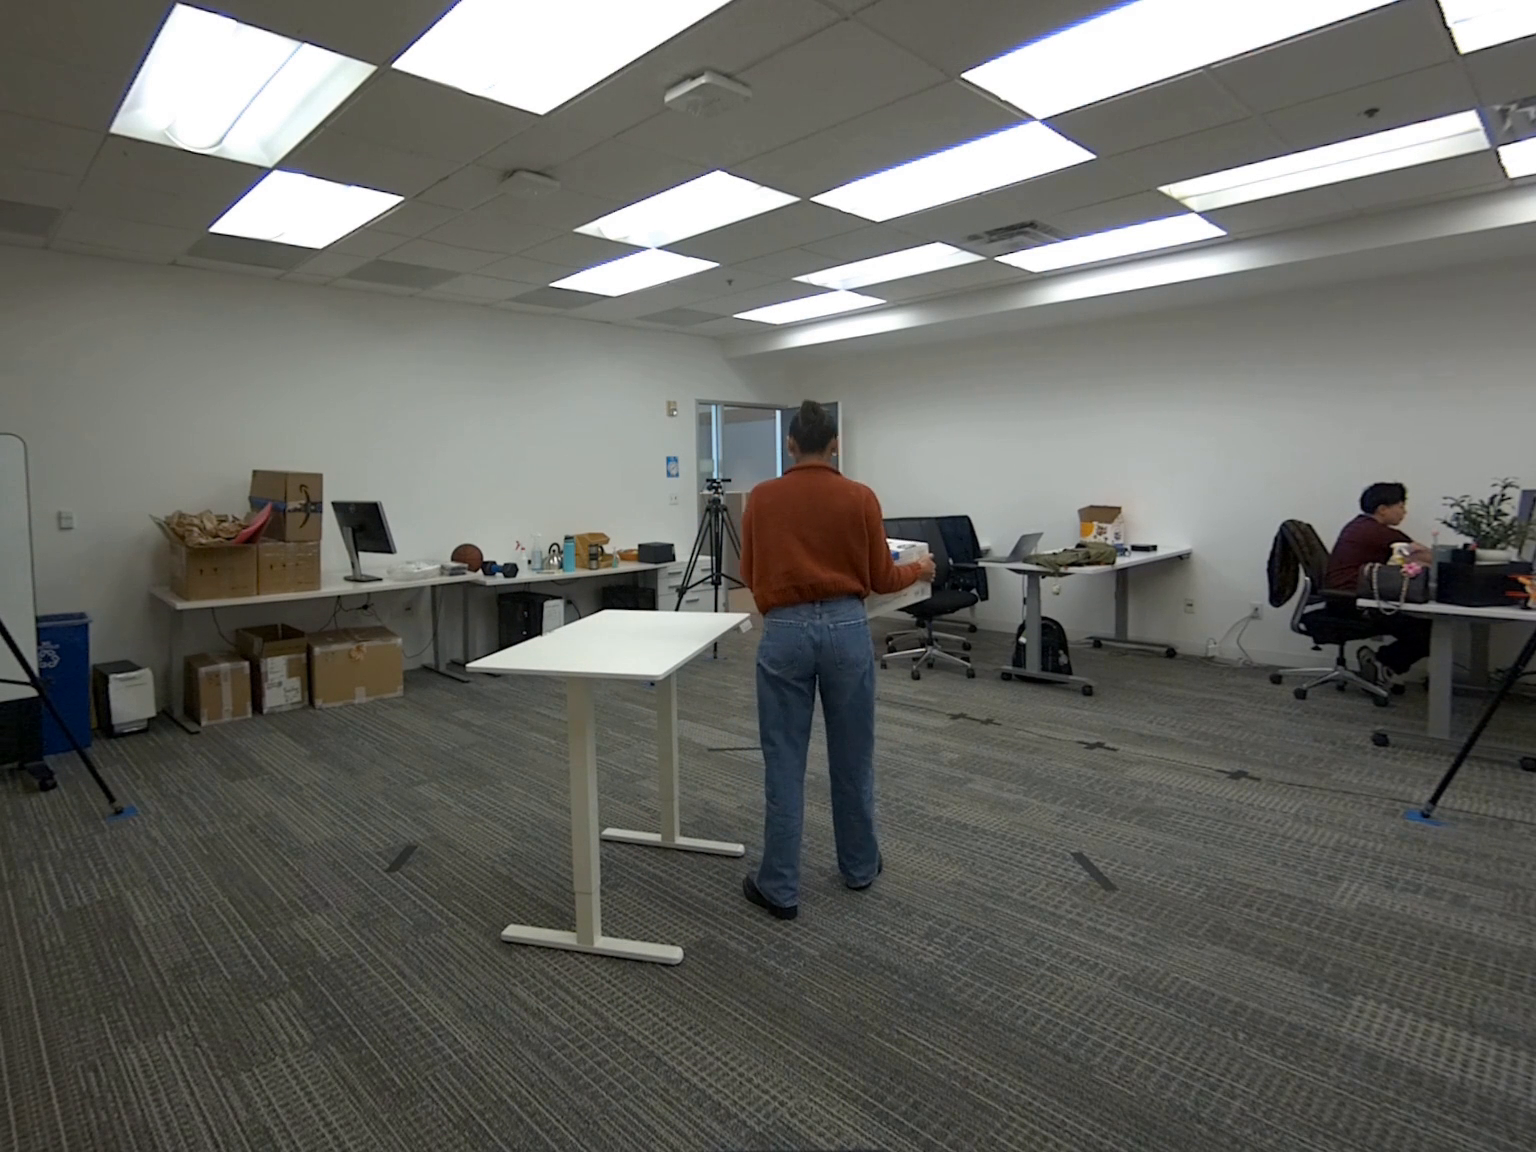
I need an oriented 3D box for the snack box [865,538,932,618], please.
[{"bbox_3d":[0.322,-0.009,3.125,0.333,0.203,0.418,-16,17,-36],"label":"snack box"}]
